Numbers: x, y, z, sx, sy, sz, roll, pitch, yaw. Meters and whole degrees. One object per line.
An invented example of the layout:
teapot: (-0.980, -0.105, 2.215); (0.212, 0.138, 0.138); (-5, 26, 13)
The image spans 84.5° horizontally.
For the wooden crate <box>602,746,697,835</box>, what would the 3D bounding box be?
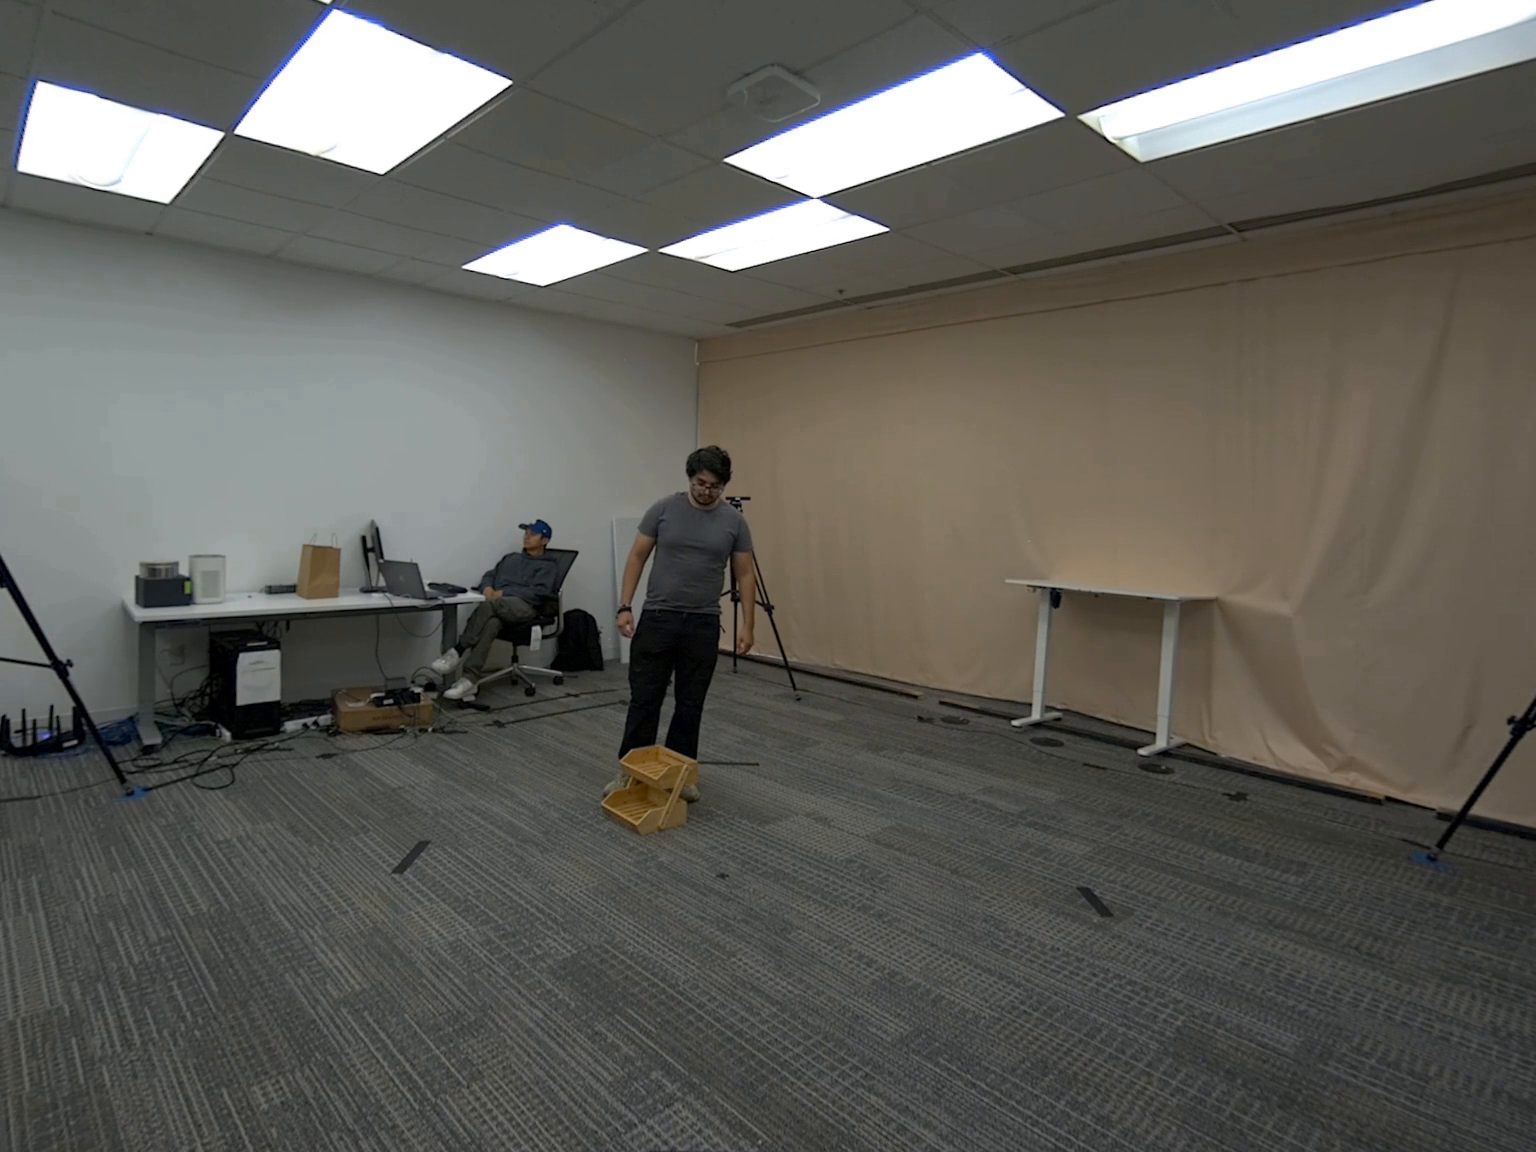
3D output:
wooden crate: (-0.535, 0.920, 3.656); (0.295, 0.273, 0.333); (-1, 5, -40)
